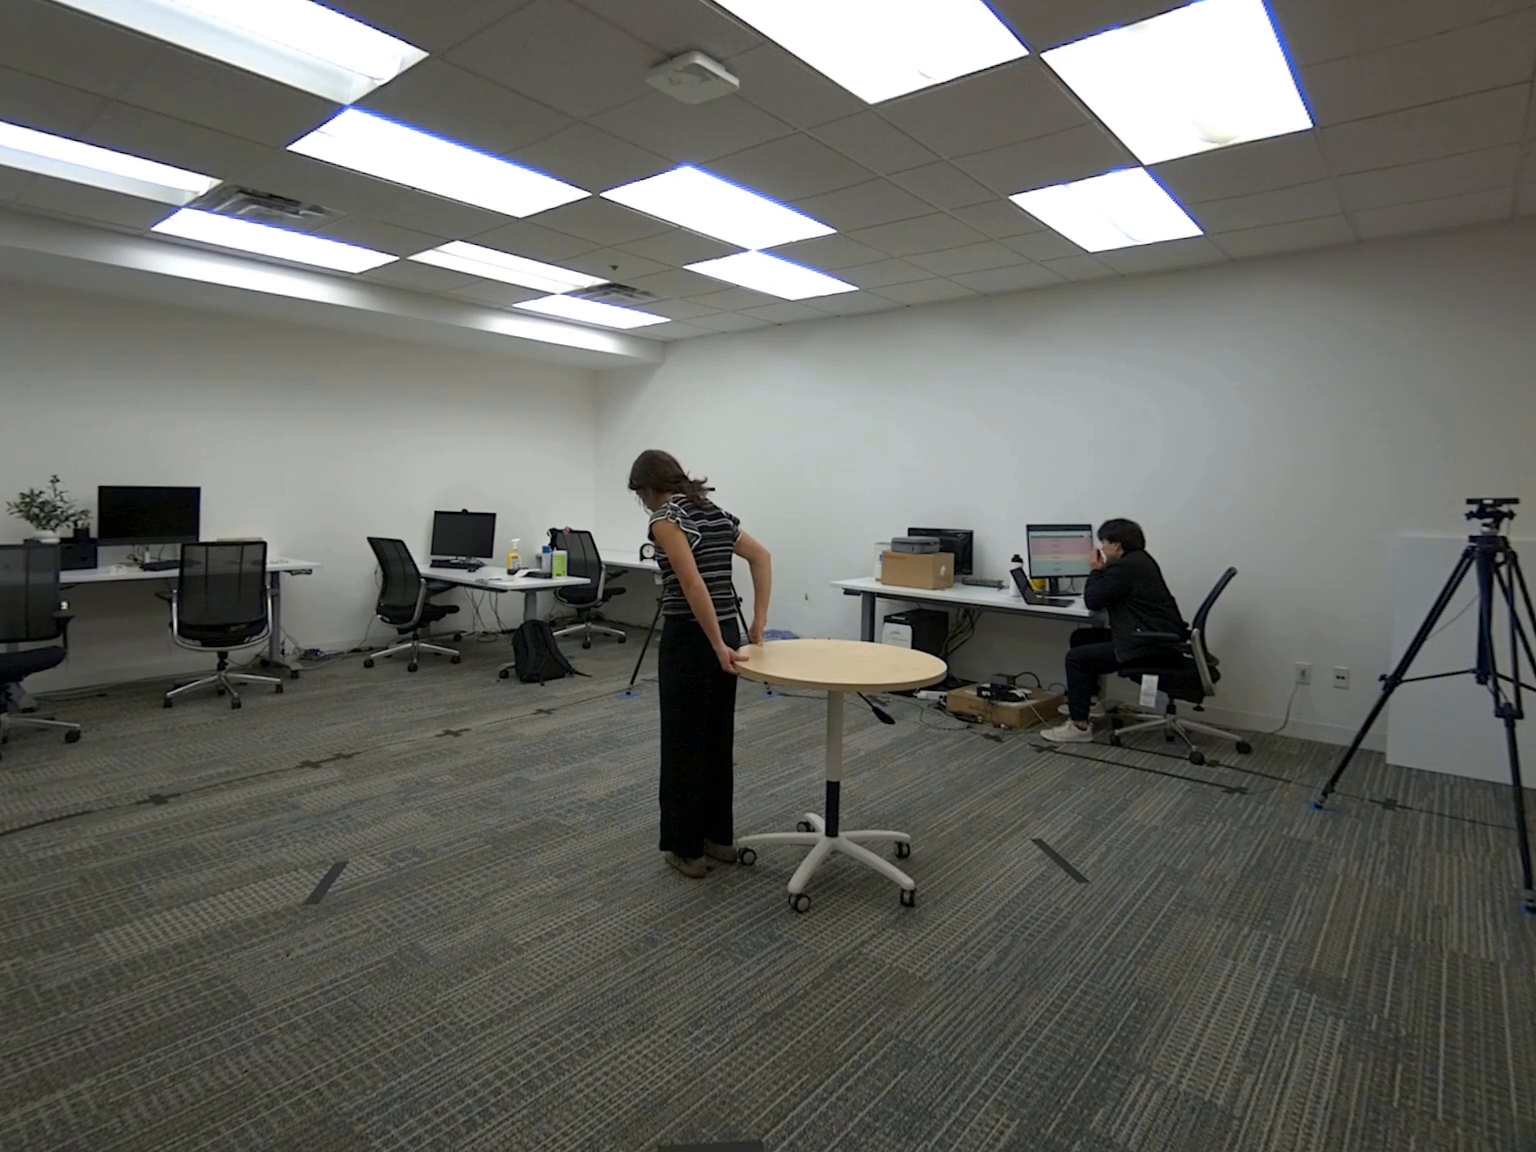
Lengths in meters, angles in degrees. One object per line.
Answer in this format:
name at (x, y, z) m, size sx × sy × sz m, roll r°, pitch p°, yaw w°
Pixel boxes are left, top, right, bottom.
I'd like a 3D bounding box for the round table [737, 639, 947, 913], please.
round table at (0.221, 0.687, 3.084) m, size 0.784 × 0.784 × 0.789 m, roll 2°, pitch 4°, yaw -2°
